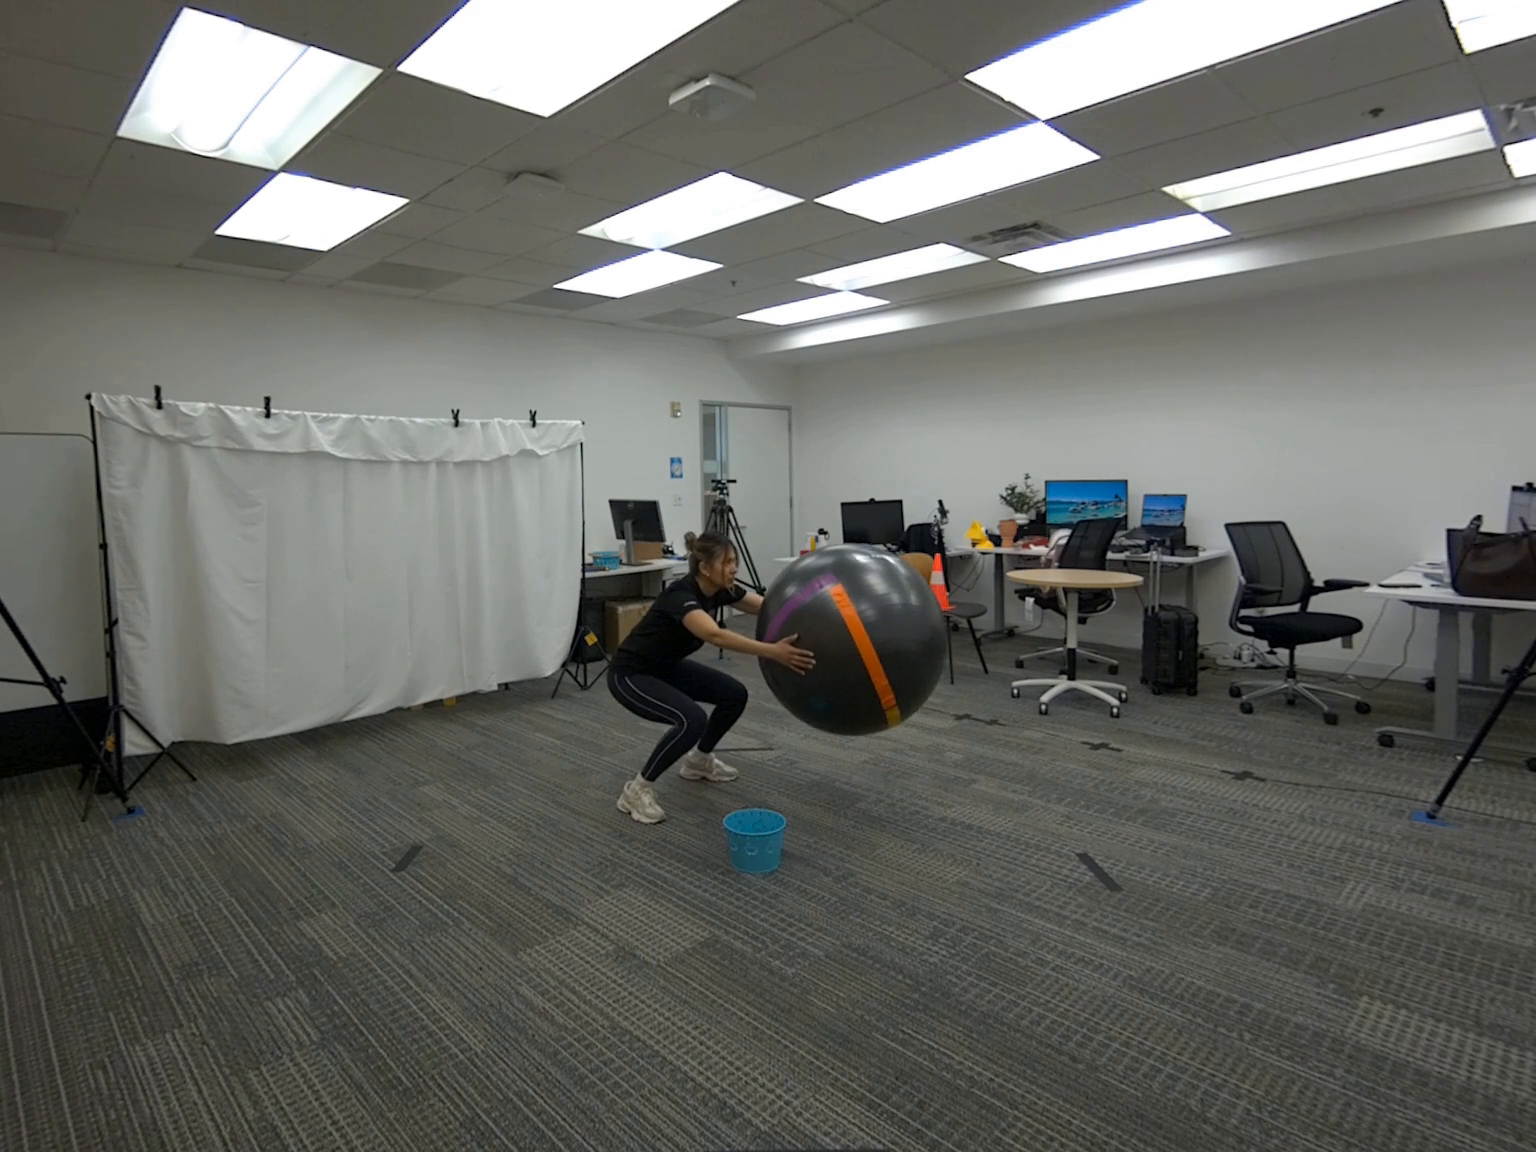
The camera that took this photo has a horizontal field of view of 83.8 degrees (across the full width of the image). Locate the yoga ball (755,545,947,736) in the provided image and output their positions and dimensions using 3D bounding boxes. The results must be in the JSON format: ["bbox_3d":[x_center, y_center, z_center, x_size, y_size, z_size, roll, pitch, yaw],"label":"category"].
[{"bbox_3d":[0.327,0.256,3.409,0.757,0.755,0.762,-1,5,-2],"label":"yoga ball"}]
